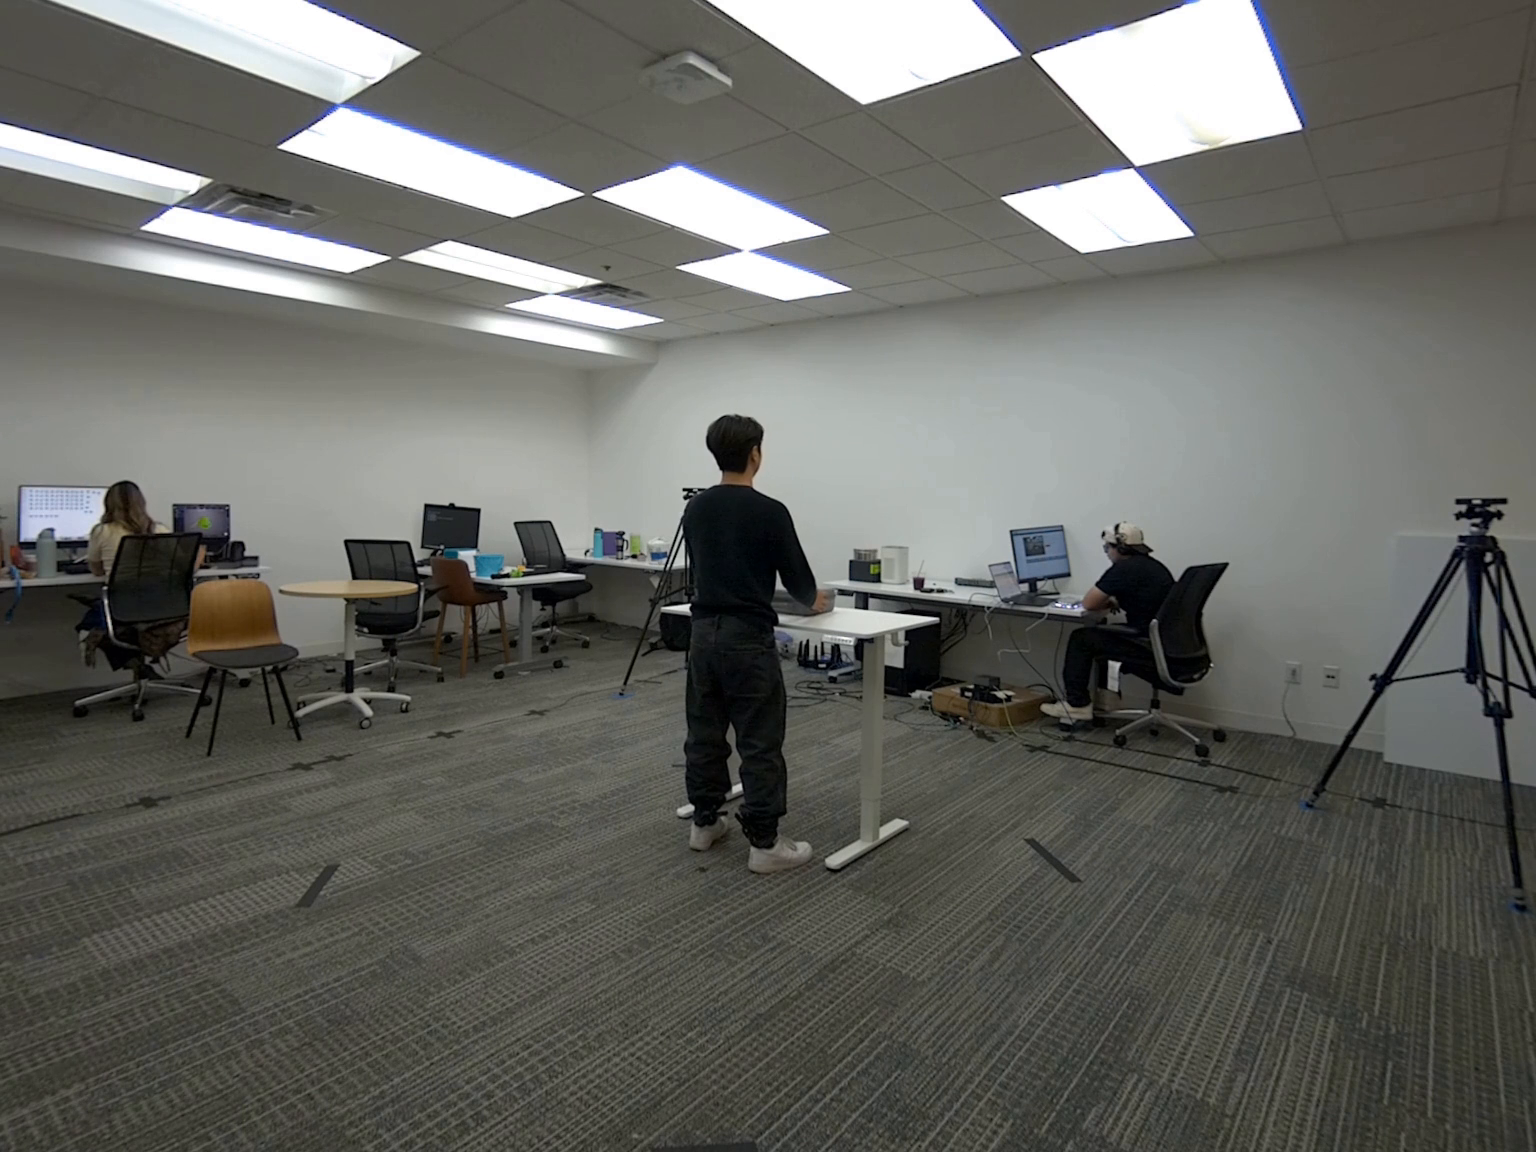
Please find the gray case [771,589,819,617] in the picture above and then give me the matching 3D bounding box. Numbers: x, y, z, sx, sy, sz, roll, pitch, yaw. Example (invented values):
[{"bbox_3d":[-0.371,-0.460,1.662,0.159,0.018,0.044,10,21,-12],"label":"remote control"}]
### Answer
[{"bbox_3d":[0.118,0.093,3.600,0.265,0.104,0.253,5,5,36],"label":"gray case"}]
